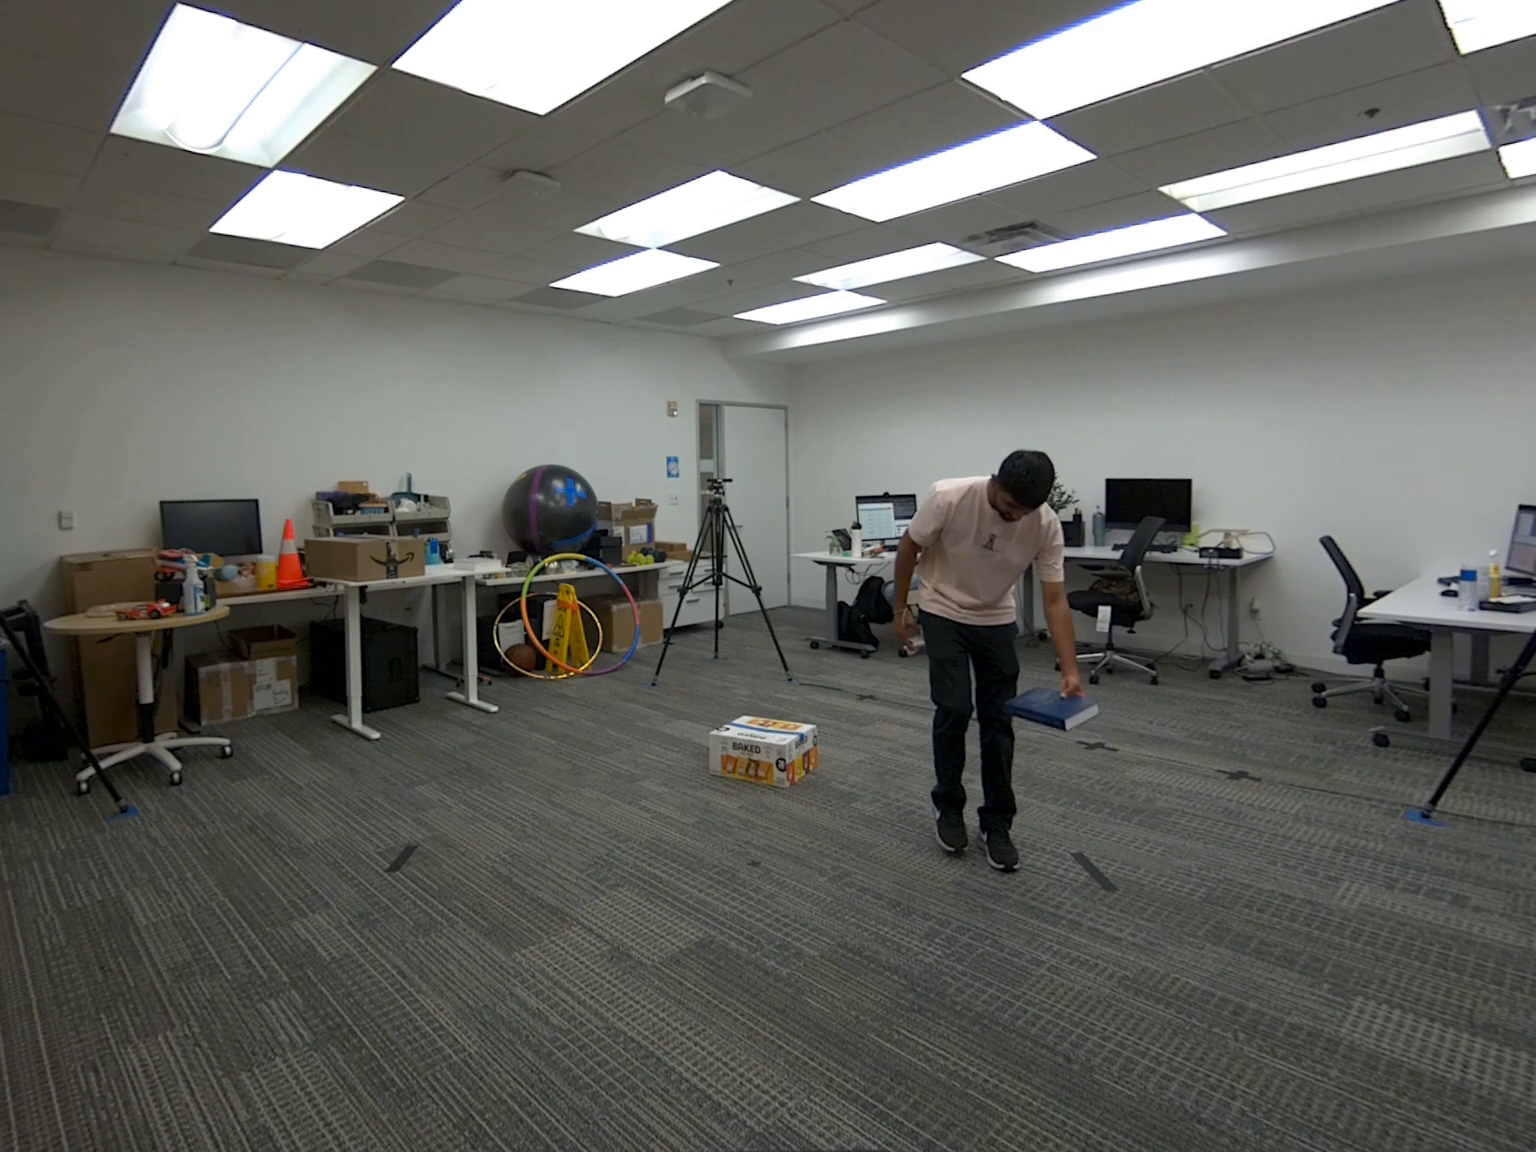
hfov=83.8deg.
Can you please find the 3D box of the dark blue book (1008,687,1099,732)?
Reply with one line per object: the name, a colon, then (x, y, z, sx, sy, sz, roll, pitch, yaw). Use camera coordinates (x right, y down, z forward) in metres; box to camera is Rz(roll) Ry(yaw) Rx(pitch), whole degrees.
dark blue book: (0.928, 0.435, 2.770, 0.161, 0.045, 0.252, -18, 13, -28)
